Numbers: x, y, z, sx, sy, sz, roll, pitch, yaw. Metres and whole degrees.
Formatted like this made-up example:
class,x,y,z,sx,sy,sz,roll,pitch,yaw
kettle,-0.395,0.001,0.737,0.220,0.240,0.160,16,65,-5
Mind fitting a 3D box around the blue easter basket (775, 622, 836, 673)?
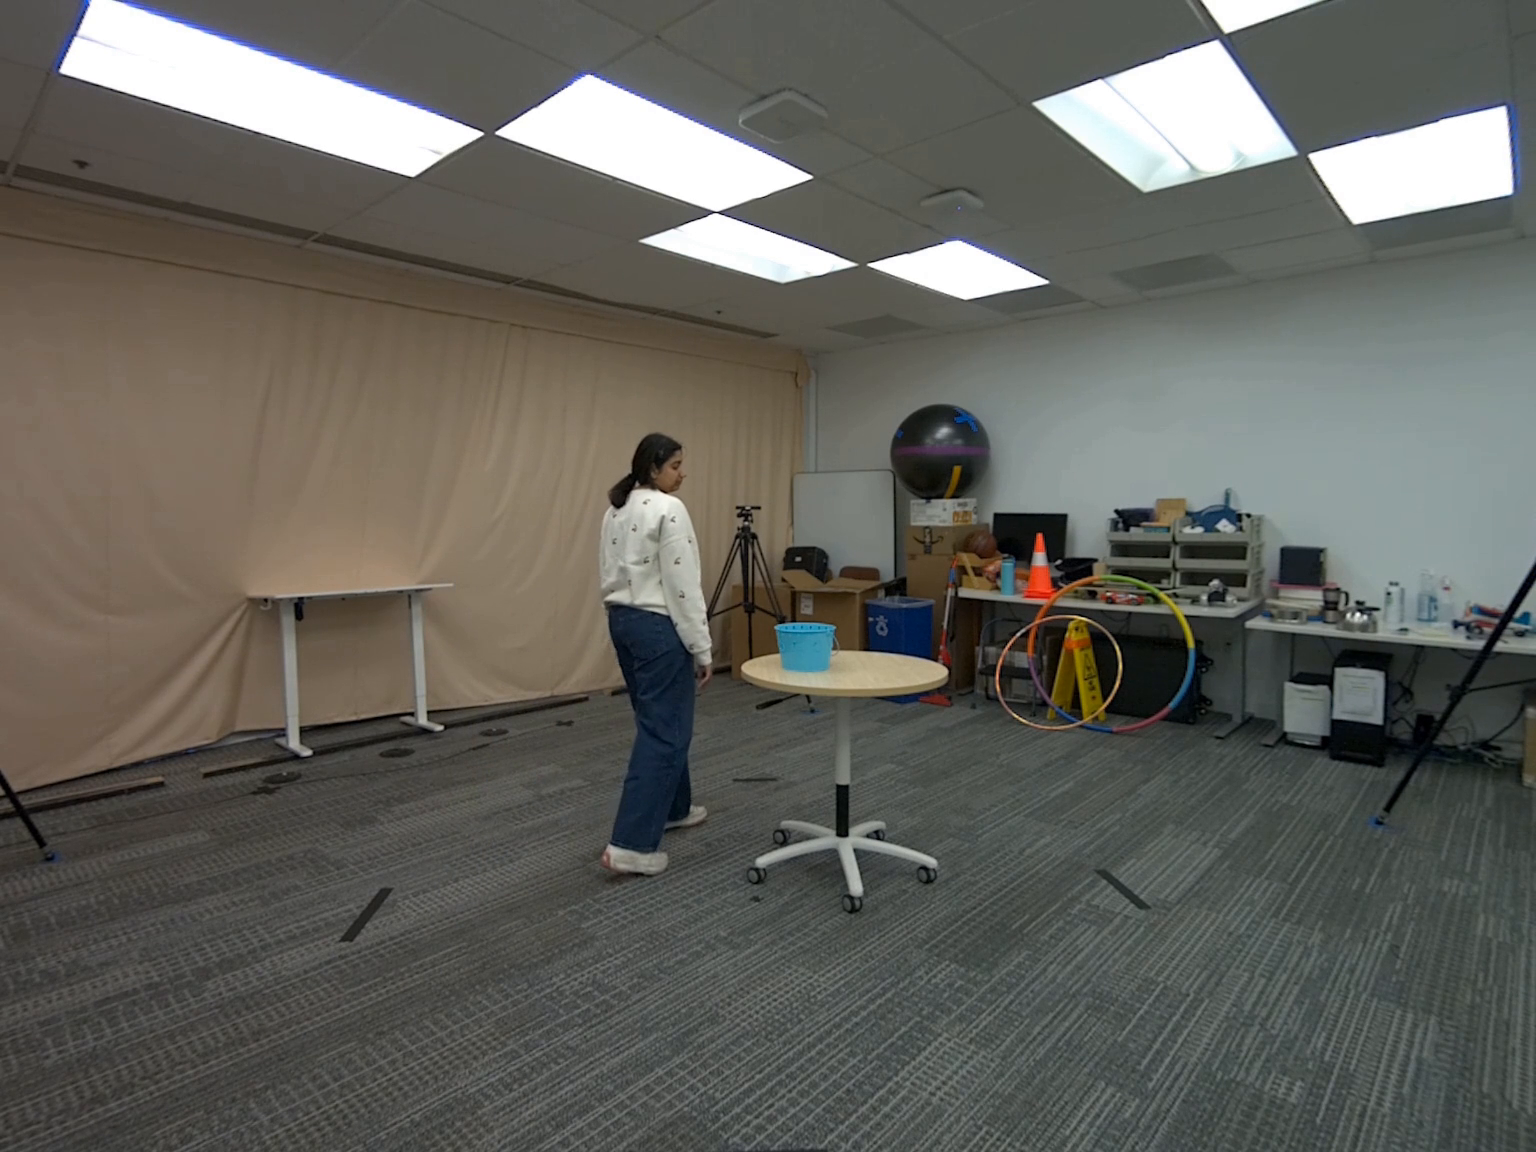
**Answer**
class,x,y,z,sx,sy,sz,roll,pitch,yaw
blue easter basket,0.158,0.273,3.182,0.243,0.155,0.244,0,4,-2
